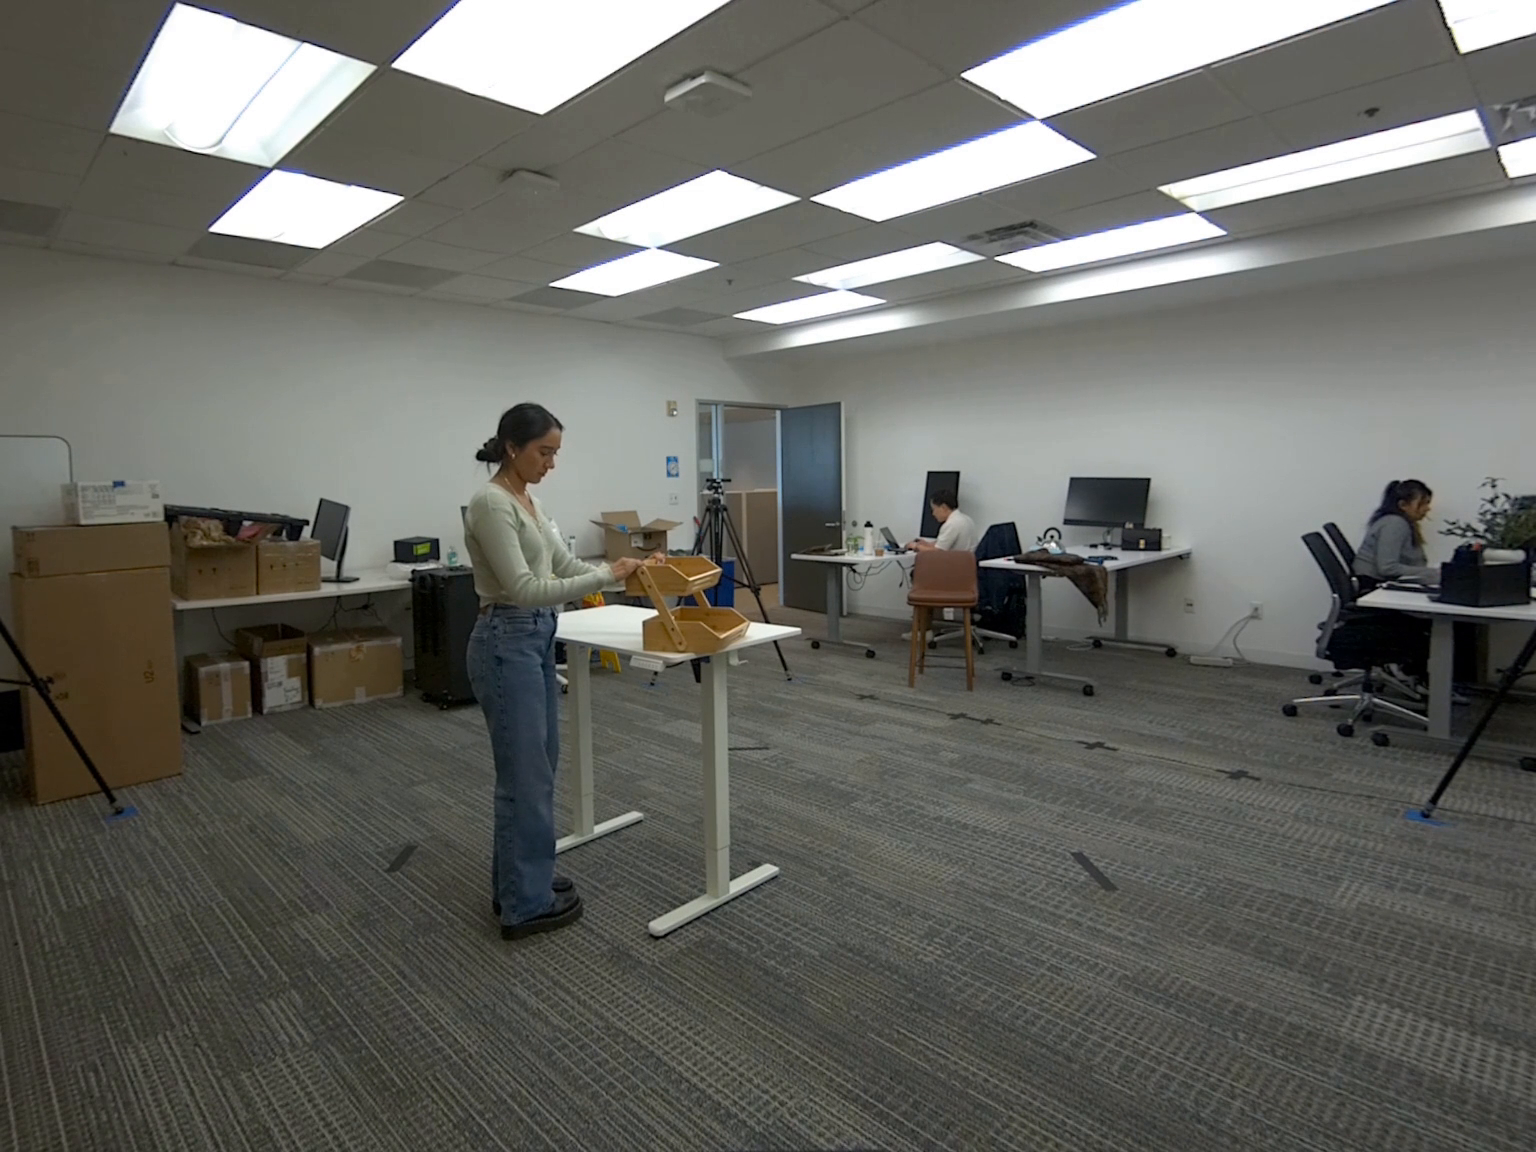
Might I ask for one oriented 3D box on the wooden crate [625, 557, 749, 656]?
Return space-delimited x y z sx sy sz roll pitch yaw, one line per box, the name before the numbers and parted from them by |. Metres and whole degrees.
wooden crate | -0.245 0.073 2.686 0.307 0.272 0.320 0 5 17
